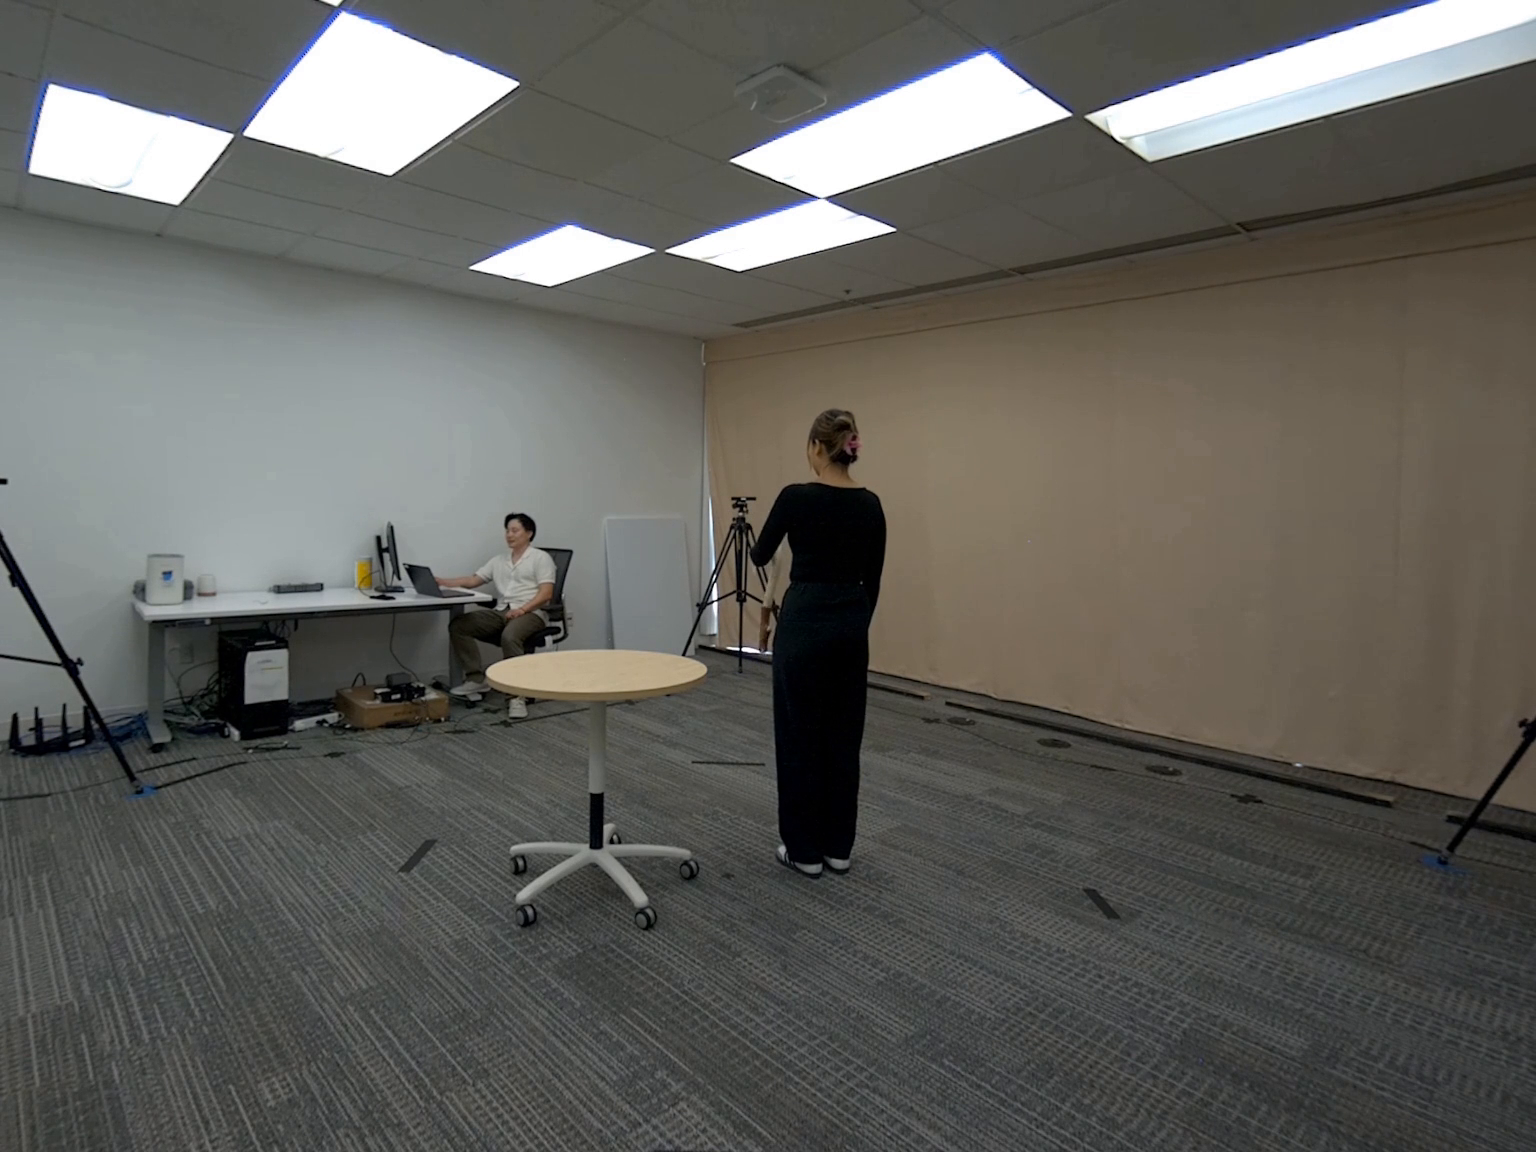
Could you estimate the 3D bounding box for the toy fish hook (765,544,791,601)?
[{"bbox_3d":[-0.026,0.074,3.607,0.047,0.505,0.229,2,4,-24],"label":"toy fish hook"}]
